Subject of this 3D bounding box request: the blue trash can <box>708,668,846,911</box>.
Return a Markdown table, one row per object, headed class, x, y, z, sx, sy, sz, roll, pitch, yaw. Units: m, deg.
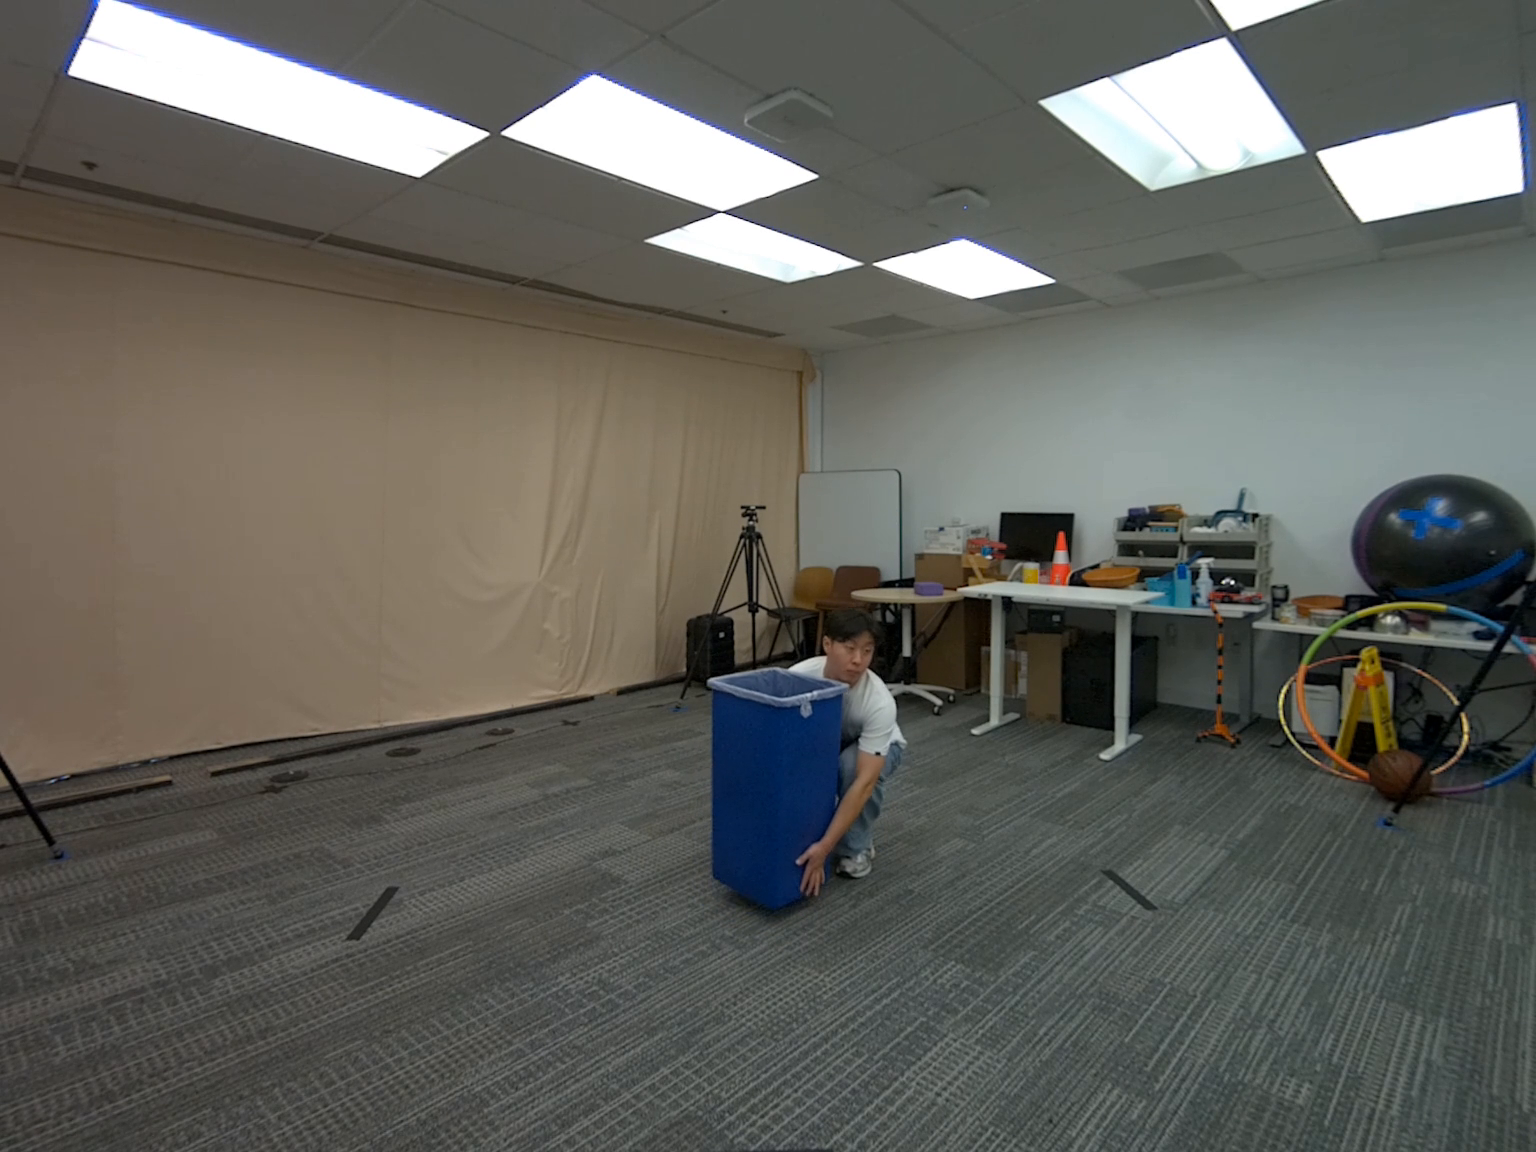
| class | x | y | z | sx | sy | sz | roll | pitch | yaw |
| --- | --- | --- | --- | --- | --- | --- | --- | --- | --- |
| blue trash can | 0.017 | 0.706 | 2.954 | 0.387 | 0.712 | 0.366 | 6 | 6 | 44 |
